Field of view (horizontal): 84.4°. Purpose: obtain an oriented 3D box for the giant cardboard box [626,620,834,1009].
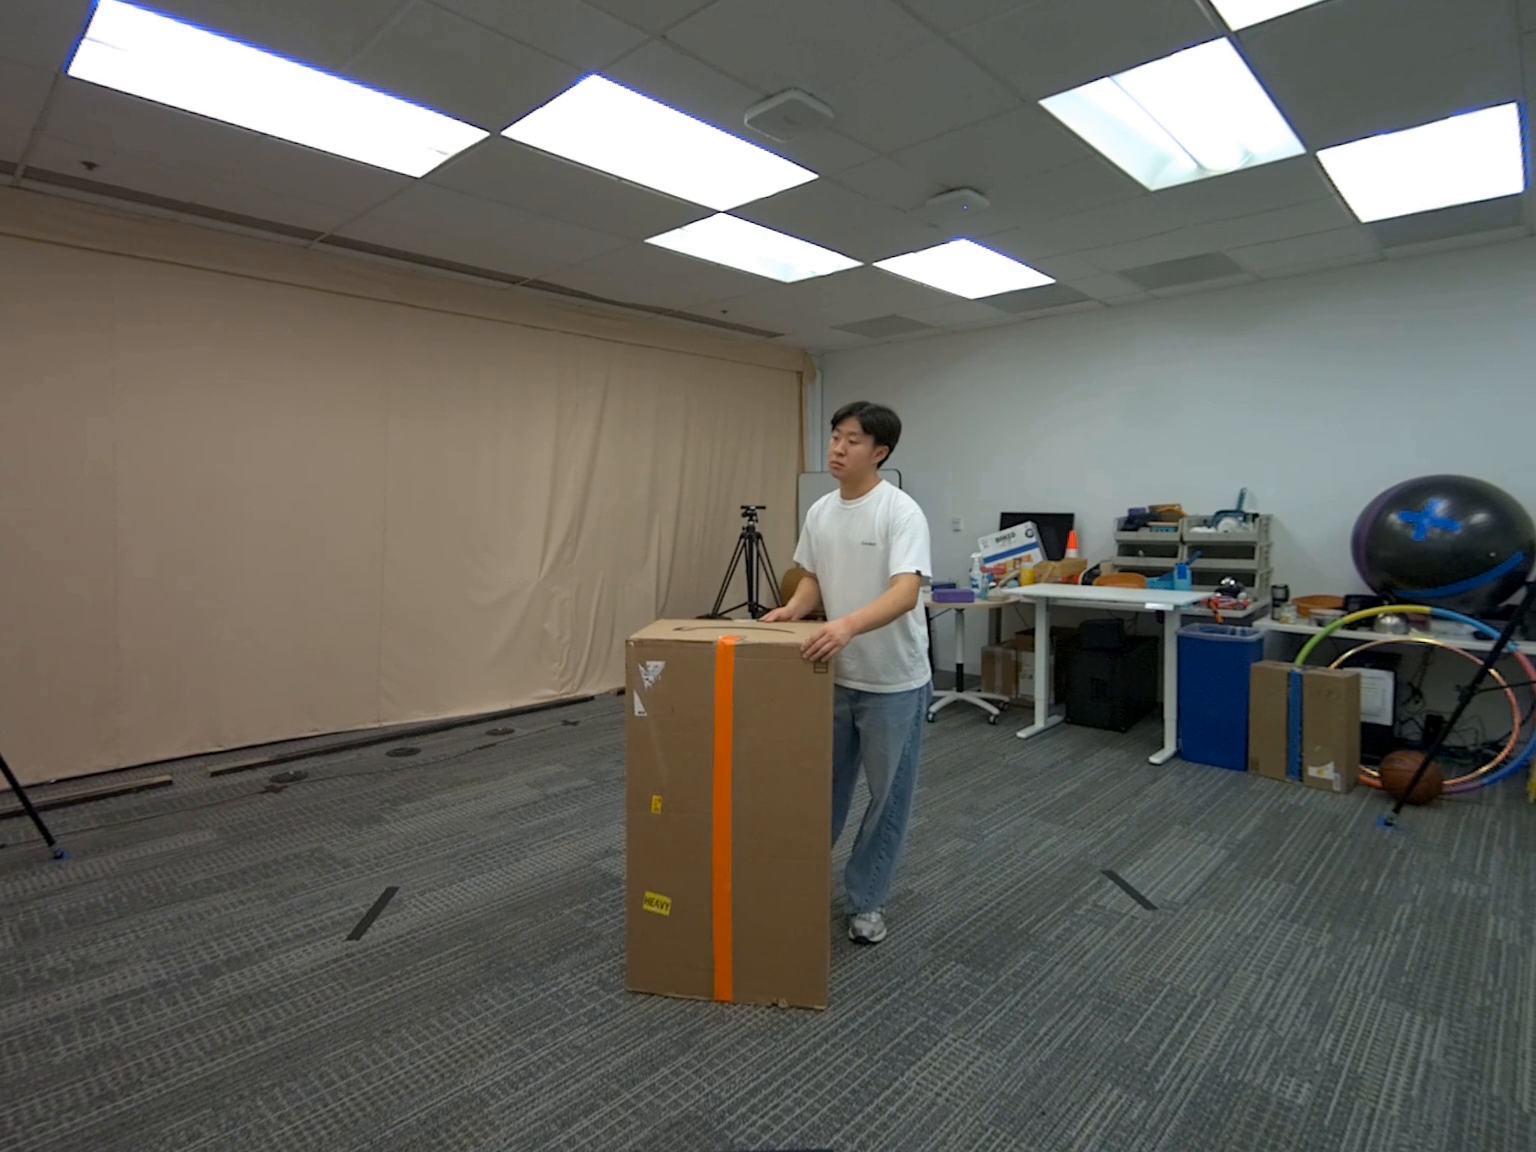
[{"bbox_3d":[-0.097,0.671,2.536,0.584,1.024,0.422,1,3,9],"label":"giant cardboard box"}]
